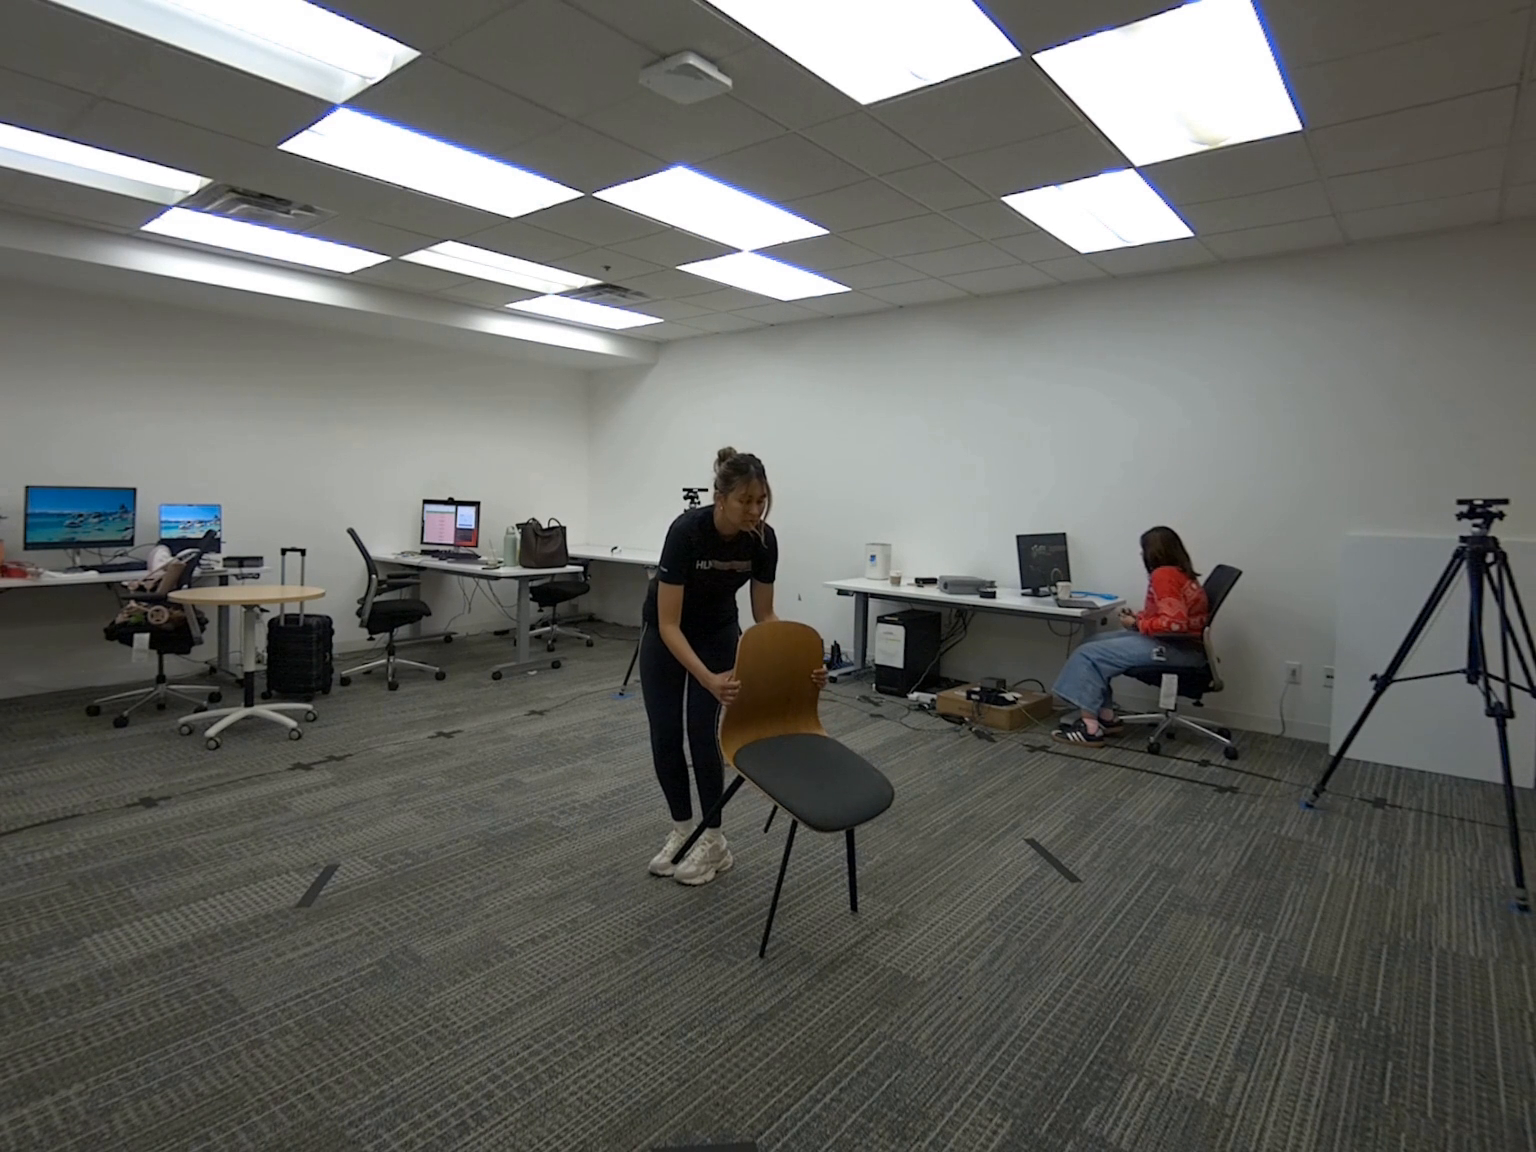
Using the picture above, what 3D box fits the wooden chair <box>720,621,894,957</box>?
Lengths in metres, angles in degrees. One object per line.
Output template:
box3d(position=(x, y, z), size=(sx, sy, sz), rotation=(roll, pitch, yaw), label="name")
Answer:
box3d(position=(0.091, 0.641, 2.700), size=(0.463, 0.869, 0.545), rotation=(-1, 18, -44), label="wooden chair")
